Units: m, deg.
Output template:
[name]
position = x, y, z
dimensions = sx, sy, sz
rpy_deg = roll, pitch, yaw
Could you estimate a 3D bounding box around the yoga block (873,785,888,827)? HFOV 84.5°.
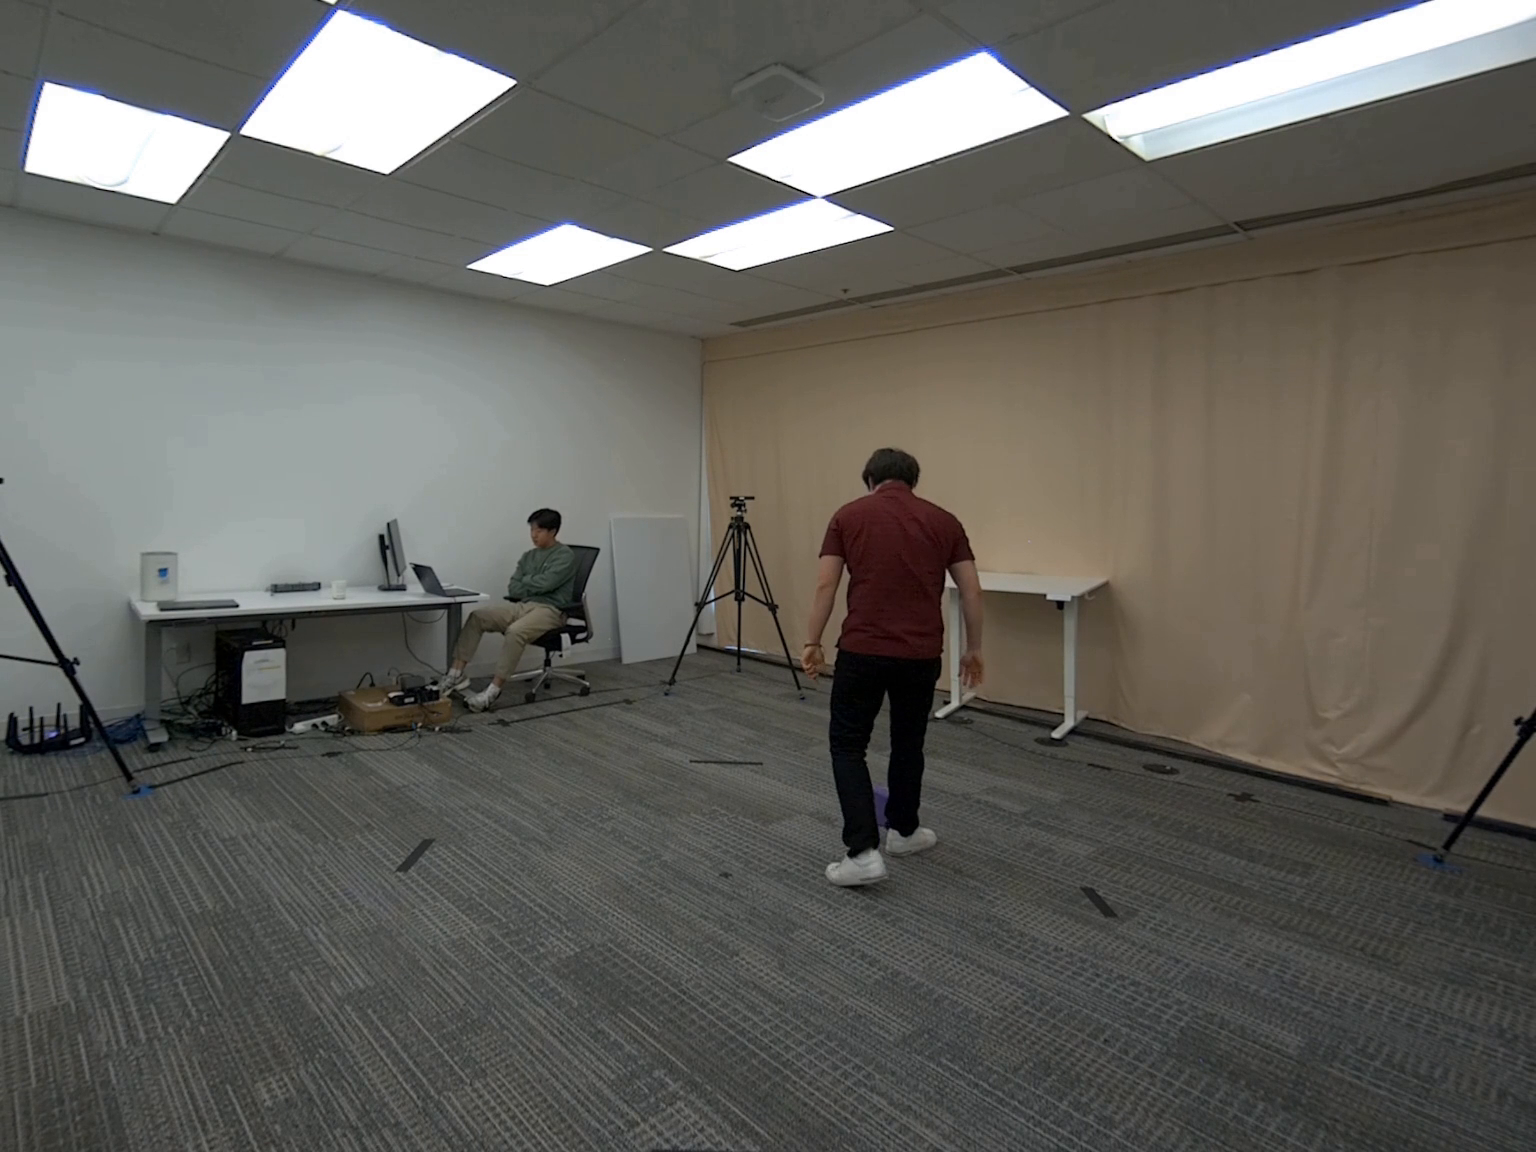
[yoga block]
position = 0.448, 0.998, 3.687
dimensions = 0.235, 0.149, 0.075
rpy_deg = 5, 4, 39
